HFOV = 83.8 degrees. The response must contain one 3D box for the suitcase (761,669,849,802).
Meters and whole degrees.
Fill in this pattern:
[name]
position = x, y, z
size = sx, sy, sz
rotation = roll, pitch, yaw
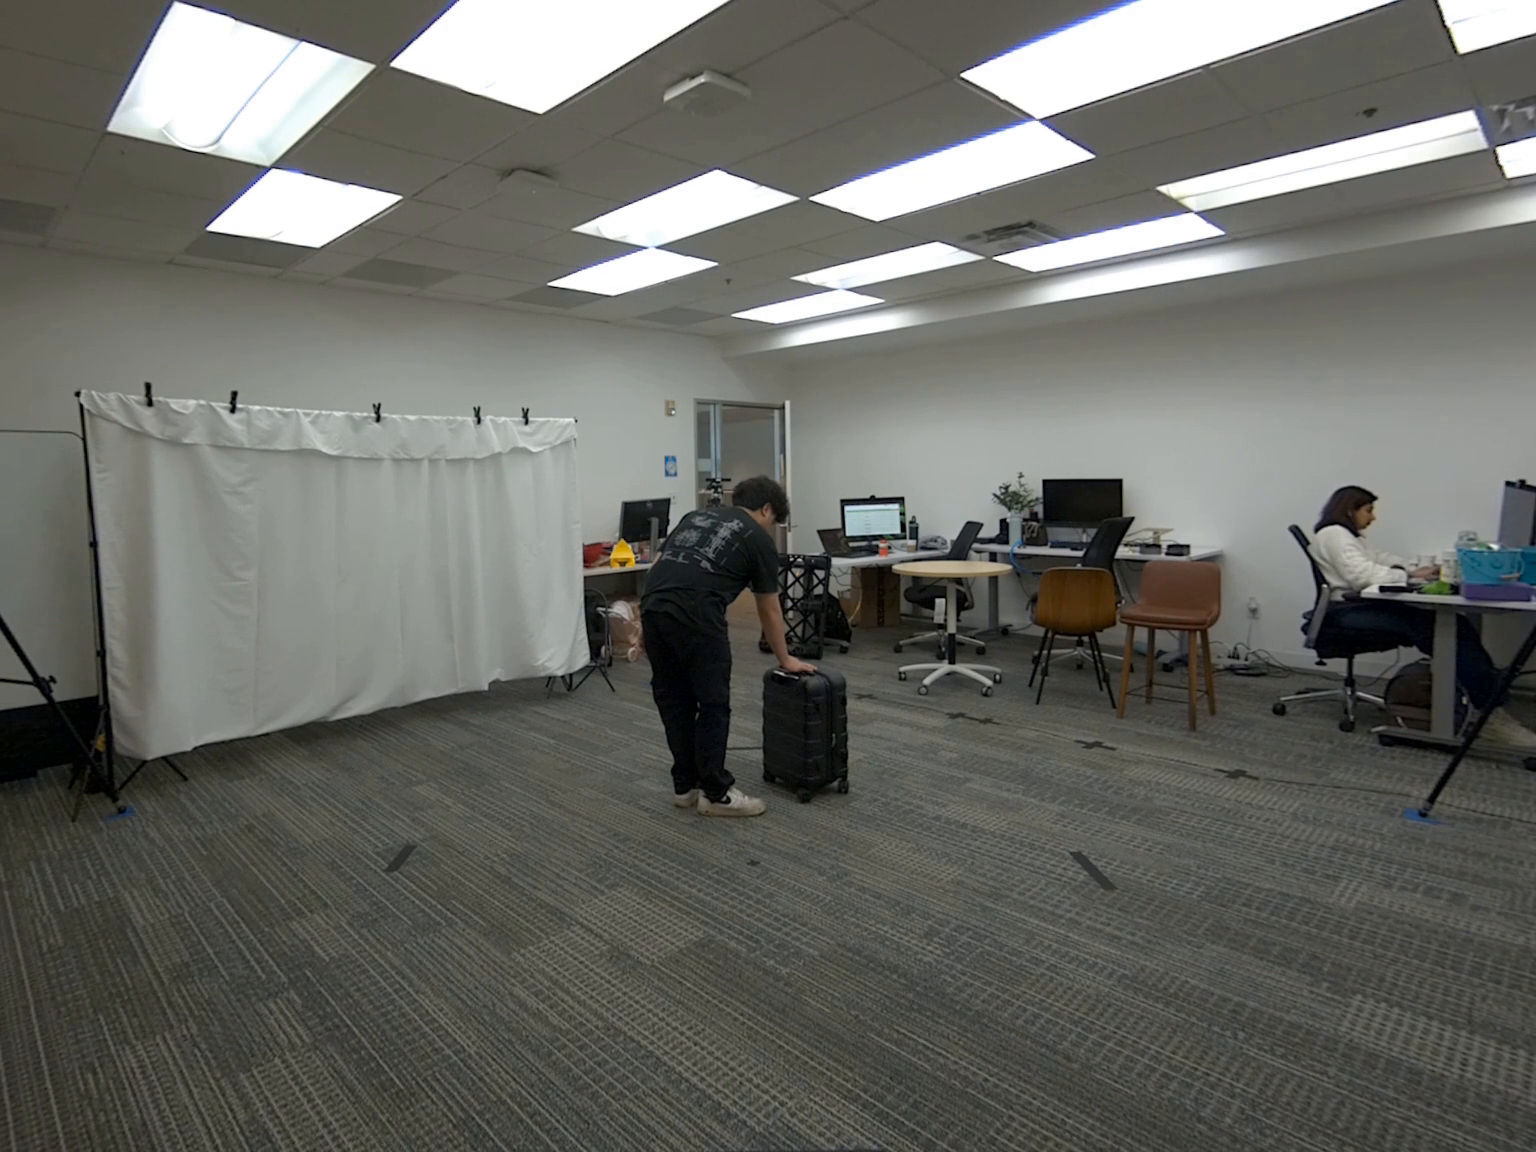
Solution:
[suitcase]
position = 0.166, 0.682, 3.859
size = 0.242, 0.548, 0.386
rotation = -3, 4, -36
